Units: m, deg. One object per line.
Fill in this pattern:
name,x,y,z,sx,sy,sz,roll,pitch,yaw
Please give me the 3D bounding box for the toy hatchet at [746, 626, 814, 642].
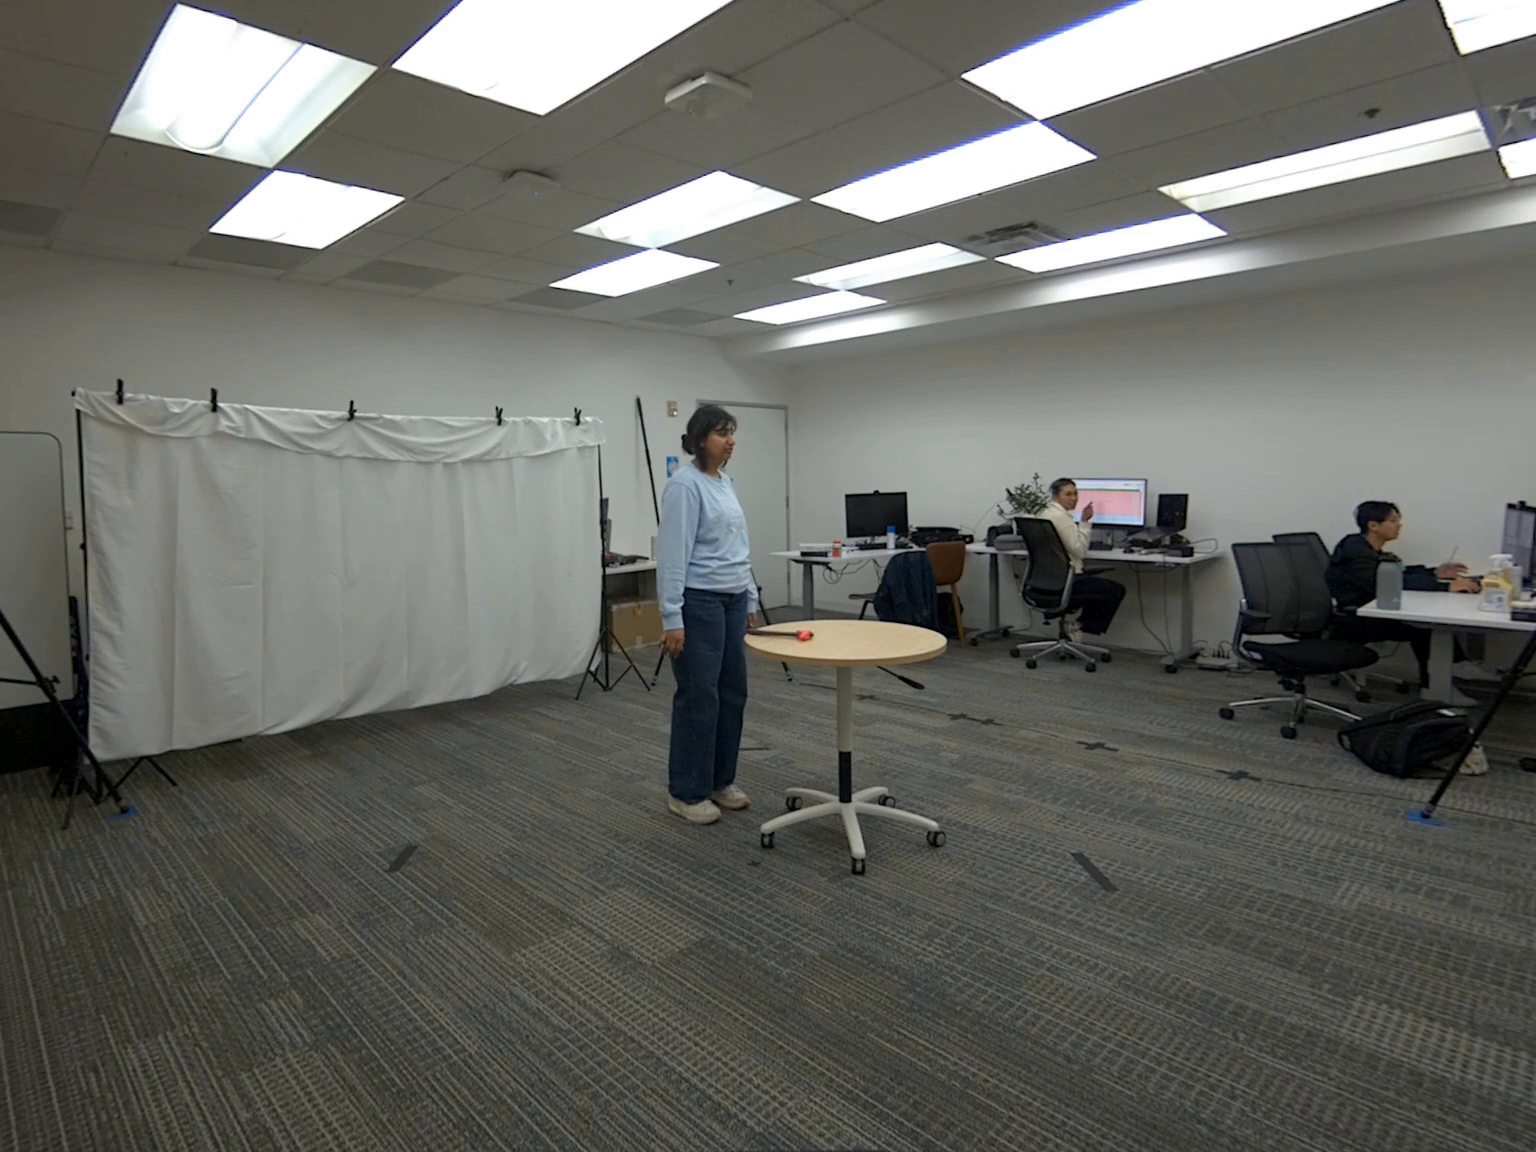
toy hatchet,0.063,0.220,3.324,0.278,0.029,0.128,3,8,38
